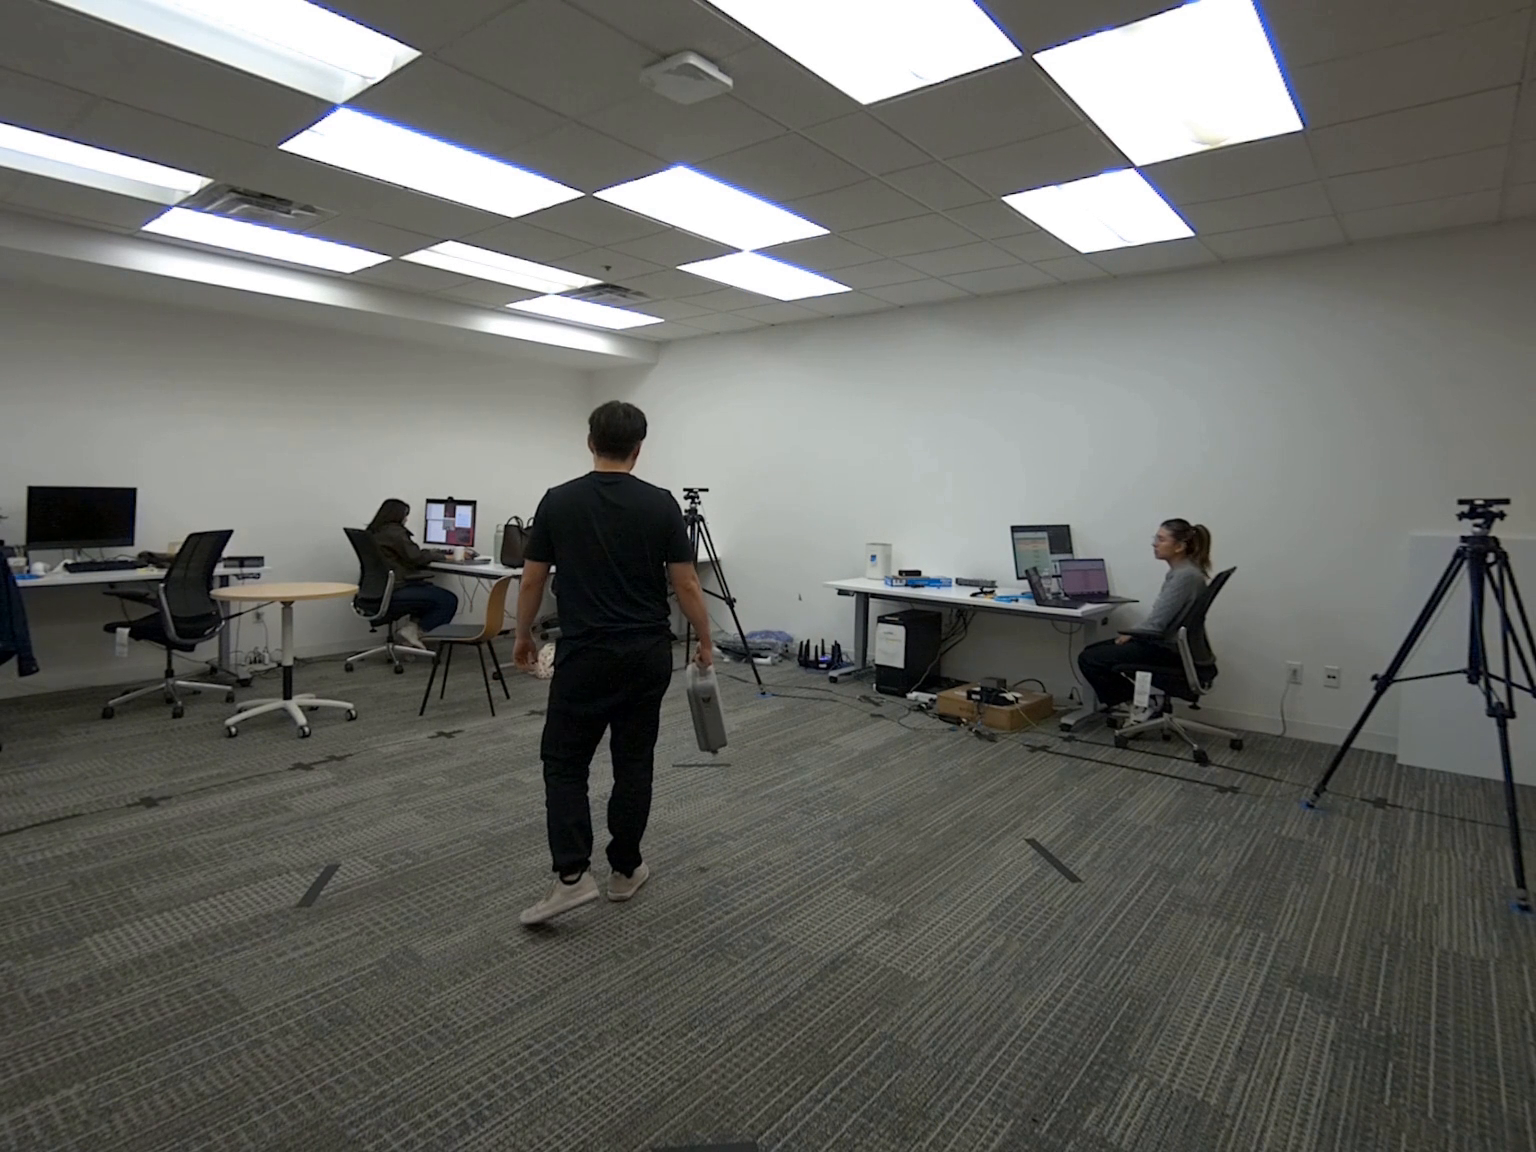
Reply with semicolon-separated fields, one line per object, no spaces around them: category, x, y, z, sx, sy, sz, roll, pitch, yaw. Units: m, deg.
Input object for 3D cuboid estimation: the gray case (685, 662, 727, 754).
gray case;-0.236;0.451;3.006;0.104;0.257;0.260;-9;13;-1
